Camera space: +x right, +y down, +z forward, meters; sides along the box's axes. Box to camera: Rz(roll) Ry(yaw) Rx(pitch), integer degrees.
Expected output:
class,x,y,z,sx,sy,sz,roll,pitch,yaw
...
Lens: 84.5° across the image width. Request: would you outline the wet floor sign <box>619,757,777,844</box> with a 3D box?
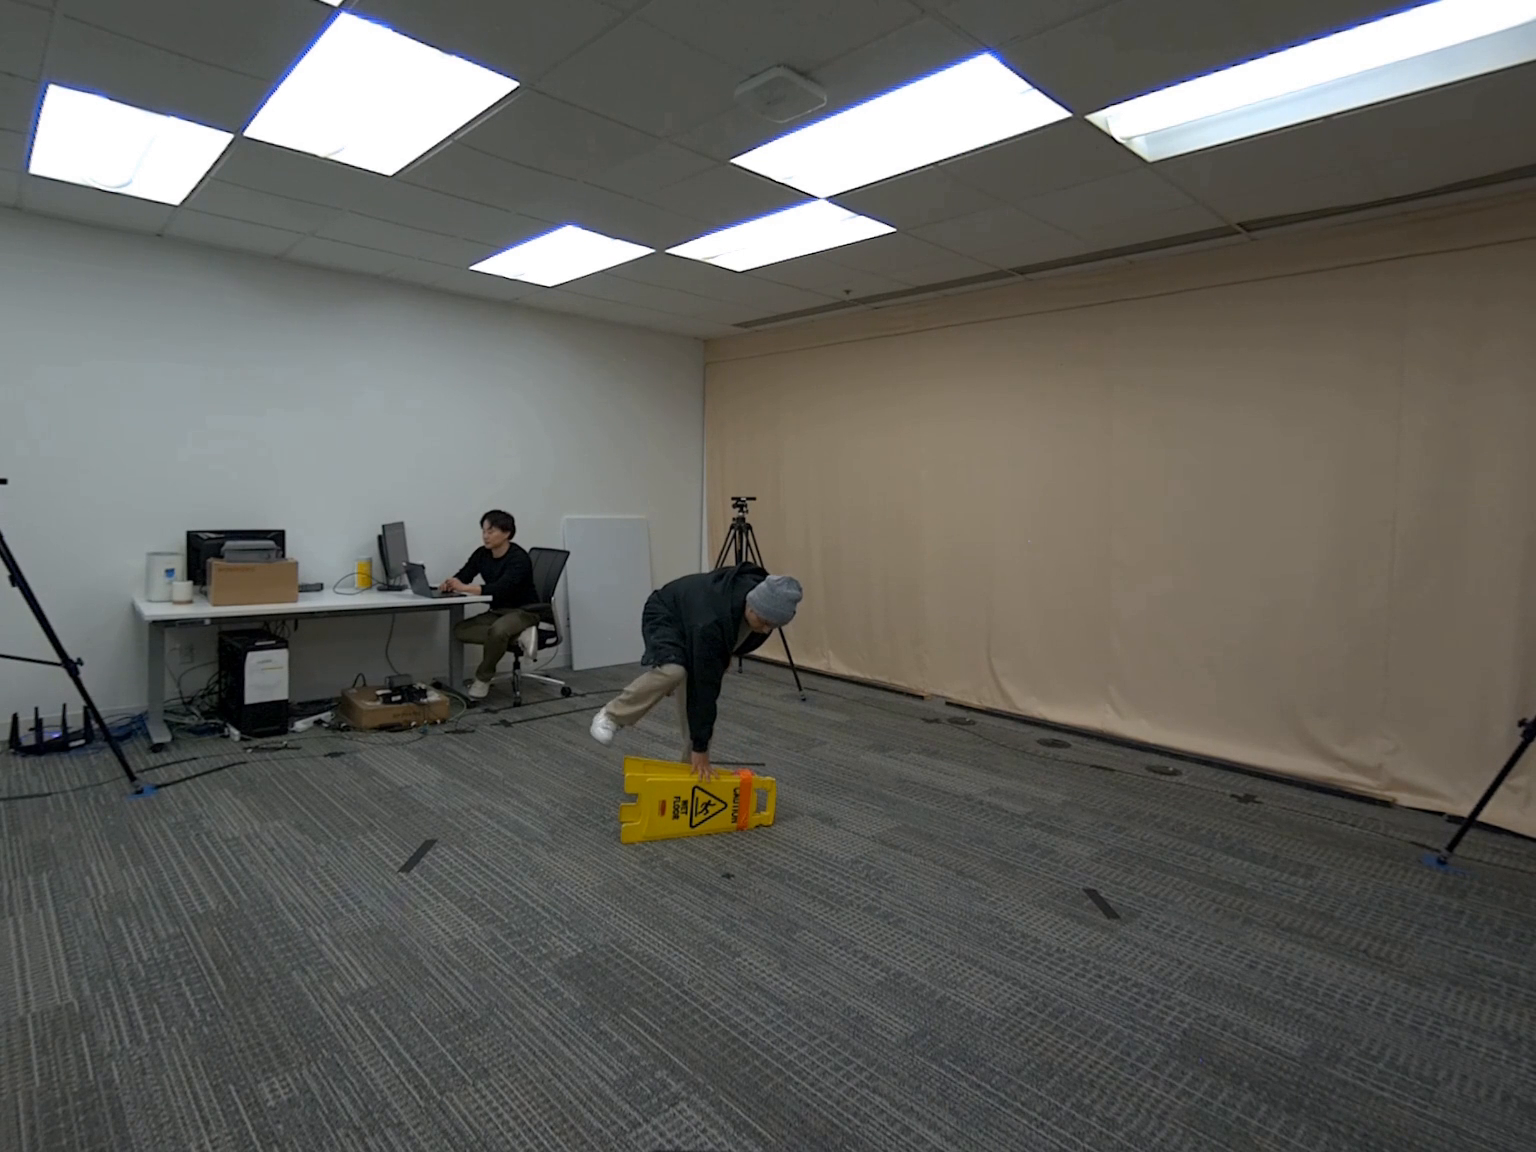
class,x,y,z,sx,sy,sz,roll,pitch,yaw
wet floor sign,-0.300,0.938,3.551,0.641,0.282,0.292,4,3,-10
